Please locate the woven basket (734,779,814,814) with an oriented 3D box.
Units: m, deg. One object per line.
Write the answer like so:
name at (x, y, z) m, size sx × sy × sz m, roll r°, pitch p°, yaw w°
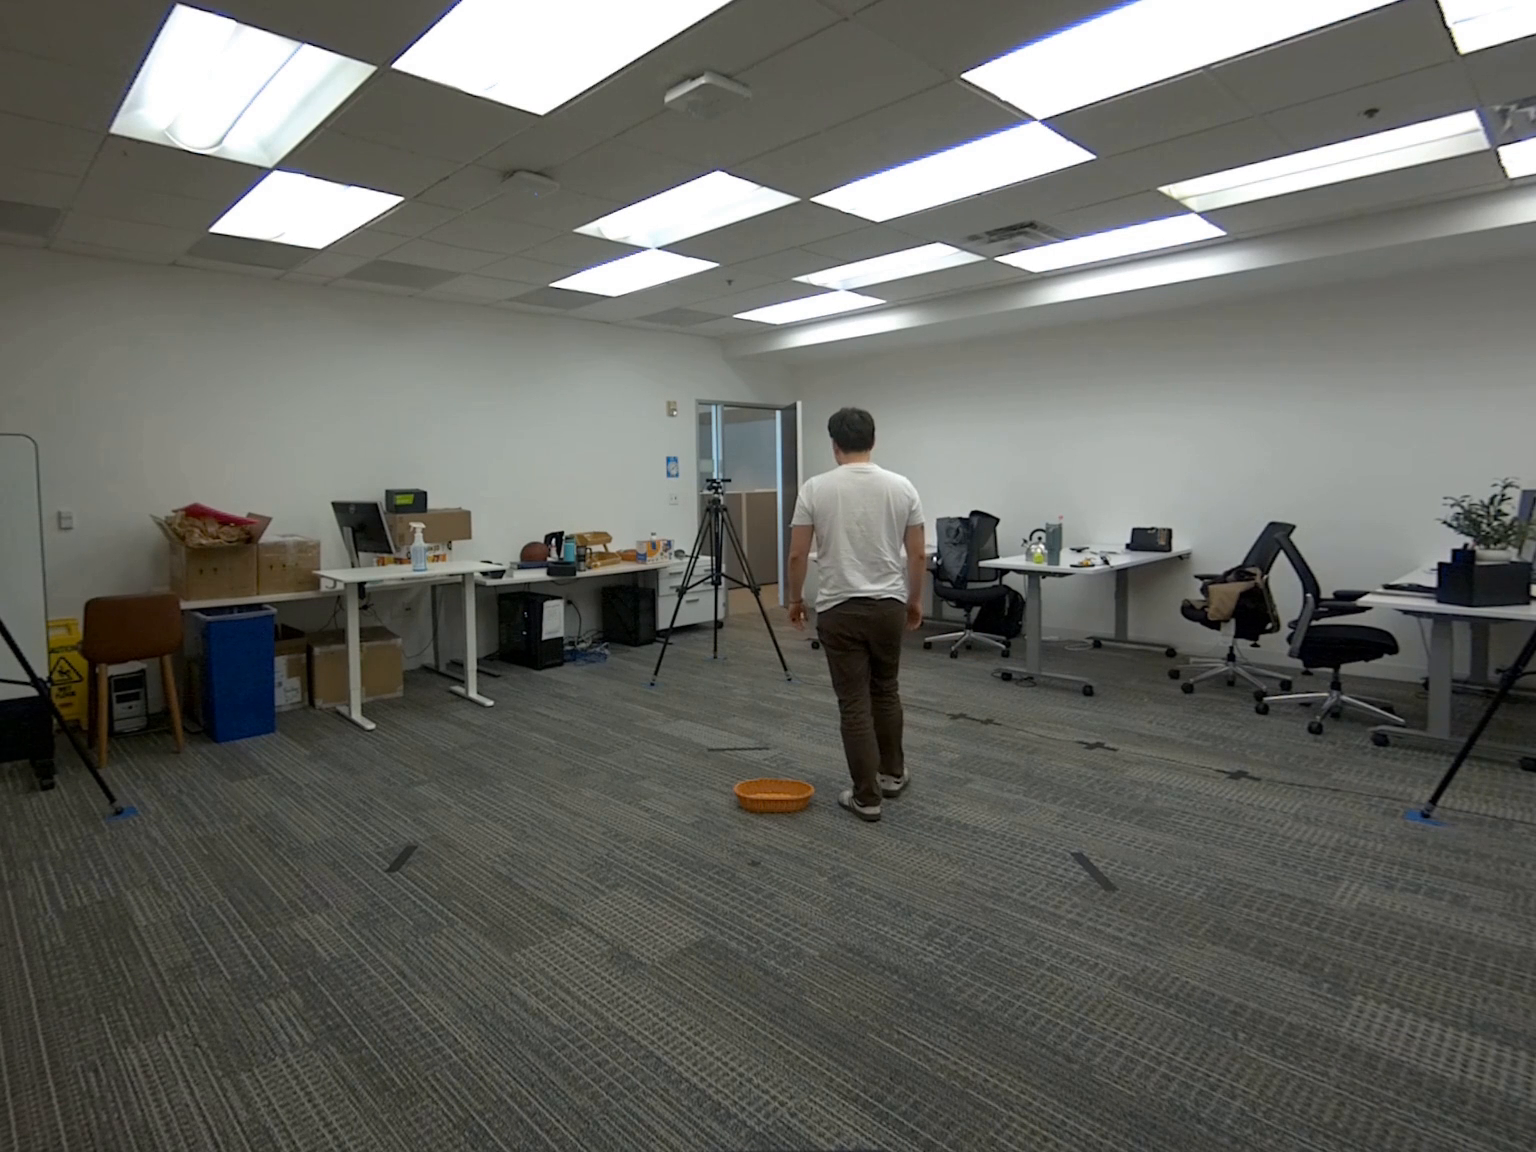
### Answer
woven basket at (0.024, 0.943, 3.661) m, size 0.352 × 0.073 × 0.252 m, roll 0°, pitch 5°, yaw 4°
